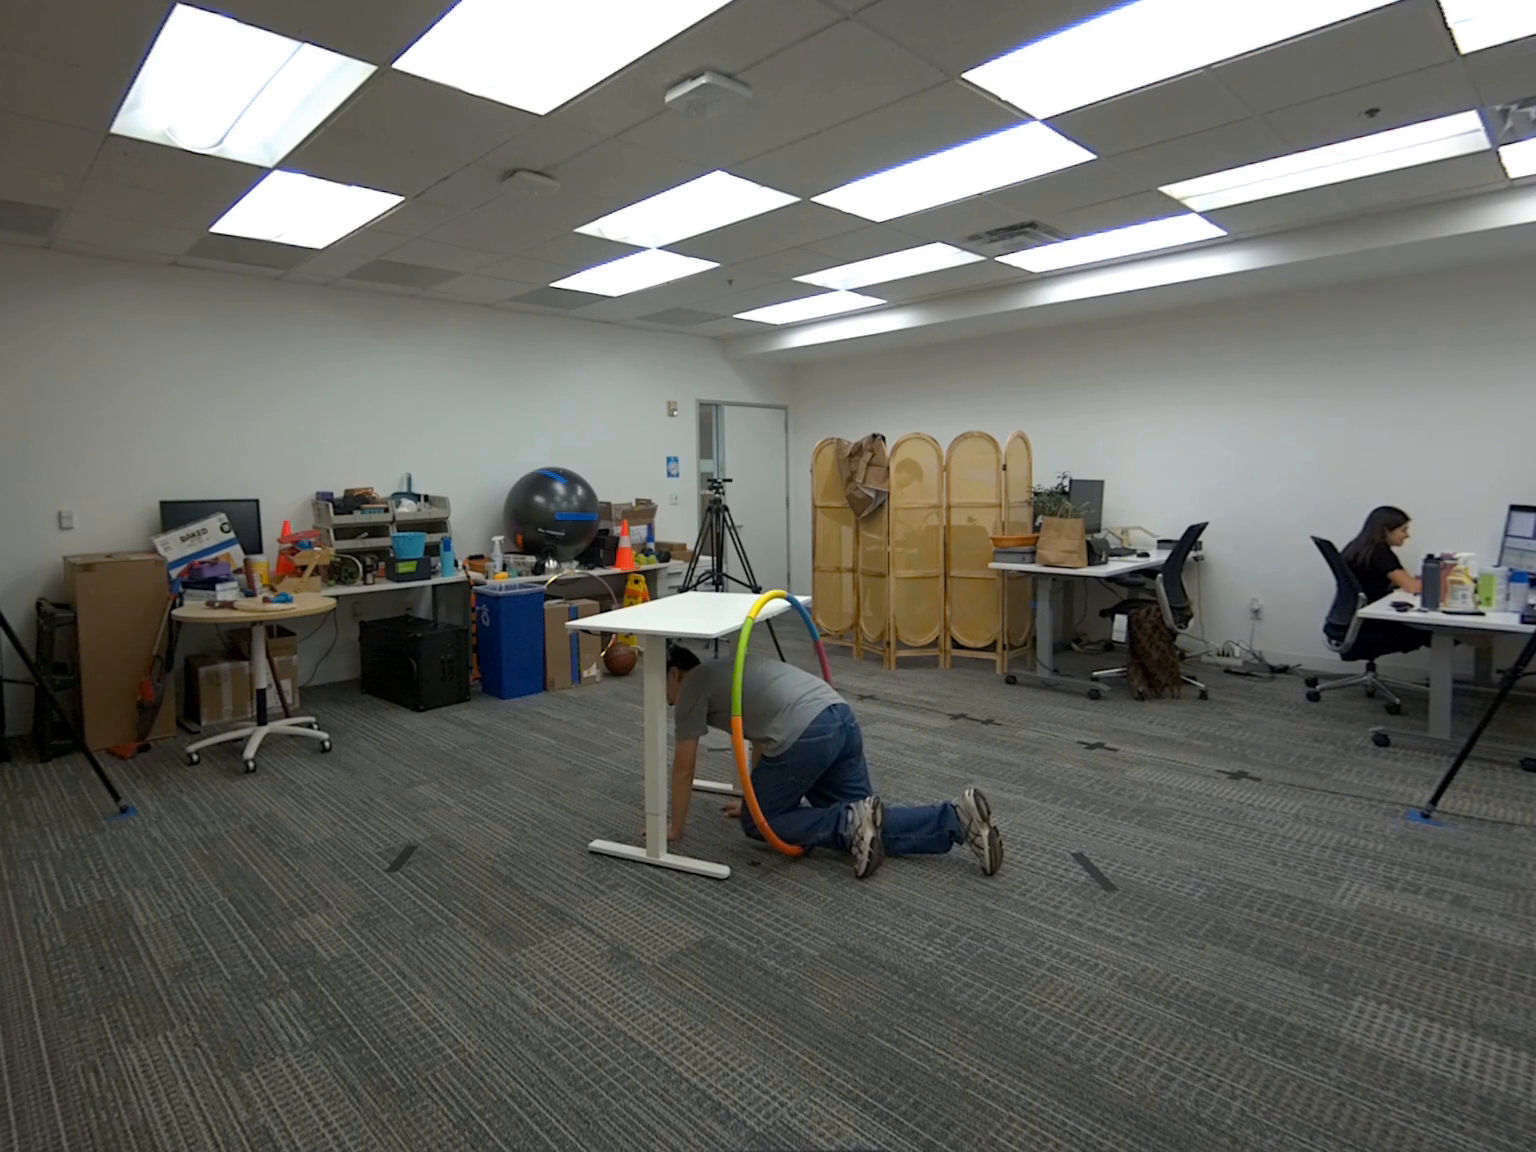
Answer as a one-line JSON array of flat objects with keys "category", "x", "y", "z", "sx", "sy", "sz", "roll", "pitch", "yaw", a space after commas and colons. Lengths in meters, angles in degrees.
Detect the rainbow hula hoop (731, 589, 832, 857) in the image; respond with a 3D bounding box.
[{"category": "rainbow hula hoop", "x": 0.086, "y": 0.544, "z": 3.264, "sx": 0.036, "sy": 0.979, "sz": 0.962, "roll": -10, "pitch": 1, "yaw": 22}]
